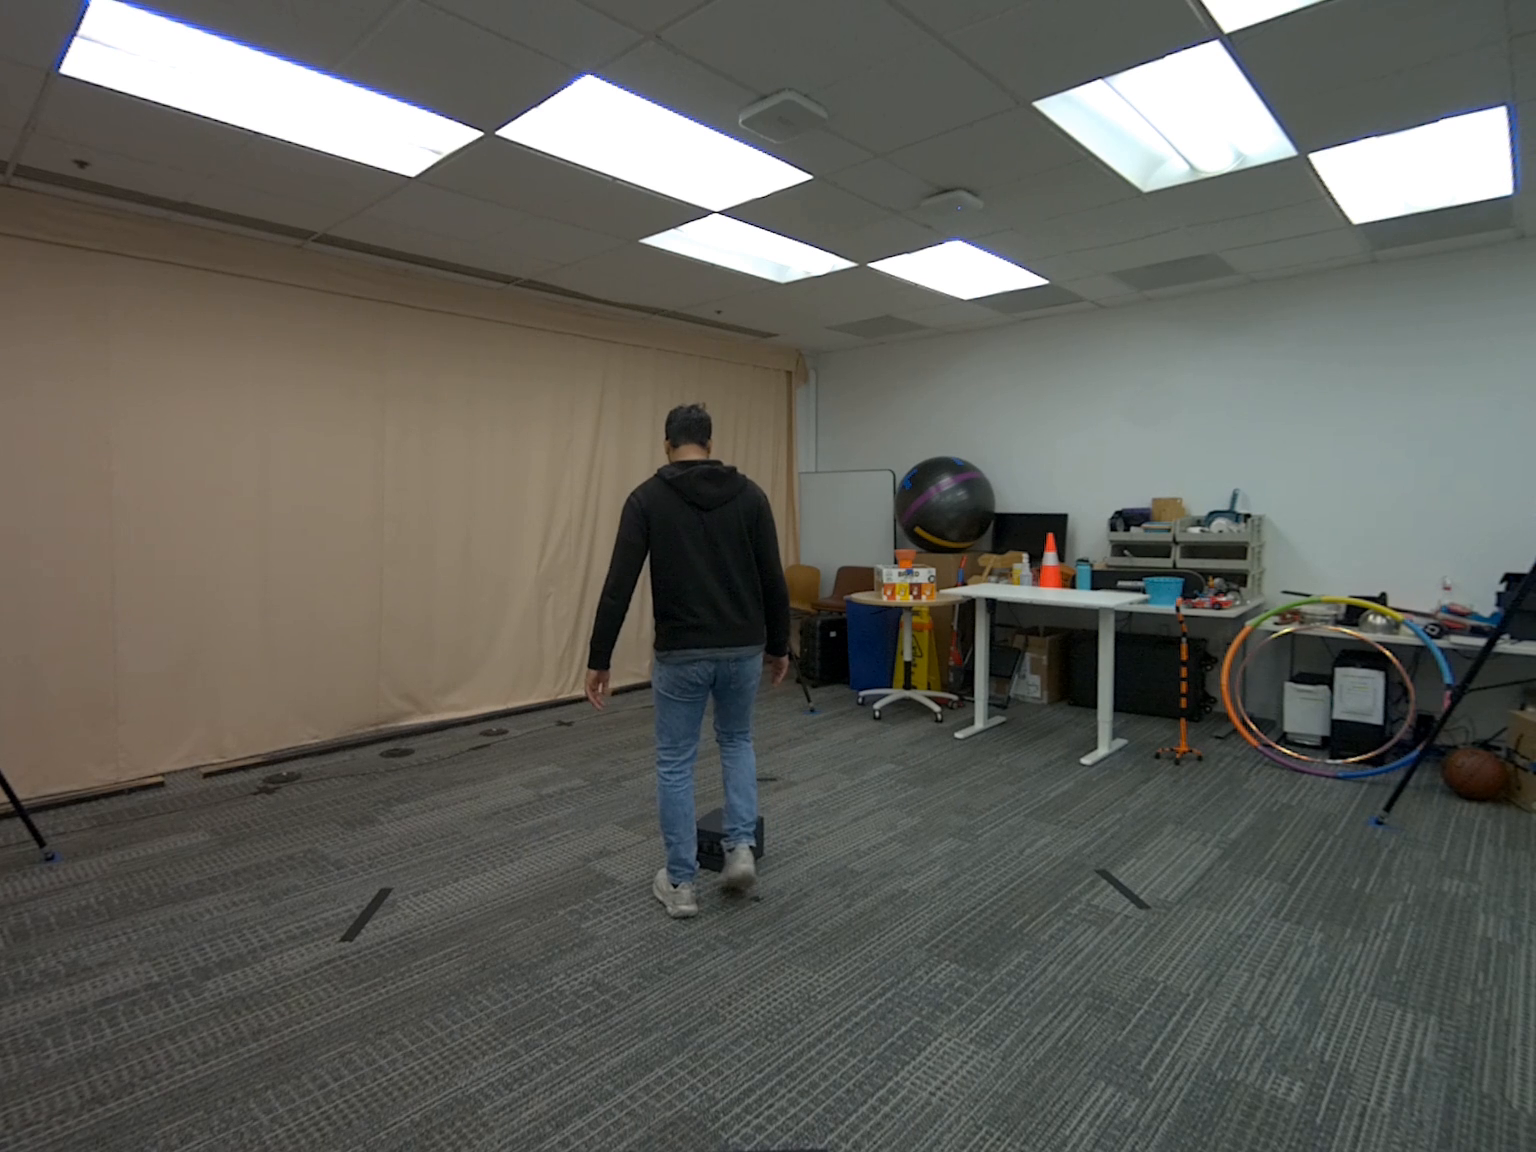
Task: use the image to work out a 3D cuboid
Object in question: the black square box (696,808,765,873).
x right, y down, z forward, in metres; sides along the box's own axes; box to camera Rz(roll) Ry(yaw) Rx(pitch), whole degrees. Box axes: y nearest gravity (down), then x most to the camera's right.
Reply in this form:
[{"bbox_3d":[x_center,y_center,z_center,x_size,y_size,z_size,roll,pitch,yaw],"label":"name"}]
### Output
[{"bbox_3d":[-0.155,1.033,3.306,0.223,0.155,0.222,2,5,25],"label":"black square box"}]
